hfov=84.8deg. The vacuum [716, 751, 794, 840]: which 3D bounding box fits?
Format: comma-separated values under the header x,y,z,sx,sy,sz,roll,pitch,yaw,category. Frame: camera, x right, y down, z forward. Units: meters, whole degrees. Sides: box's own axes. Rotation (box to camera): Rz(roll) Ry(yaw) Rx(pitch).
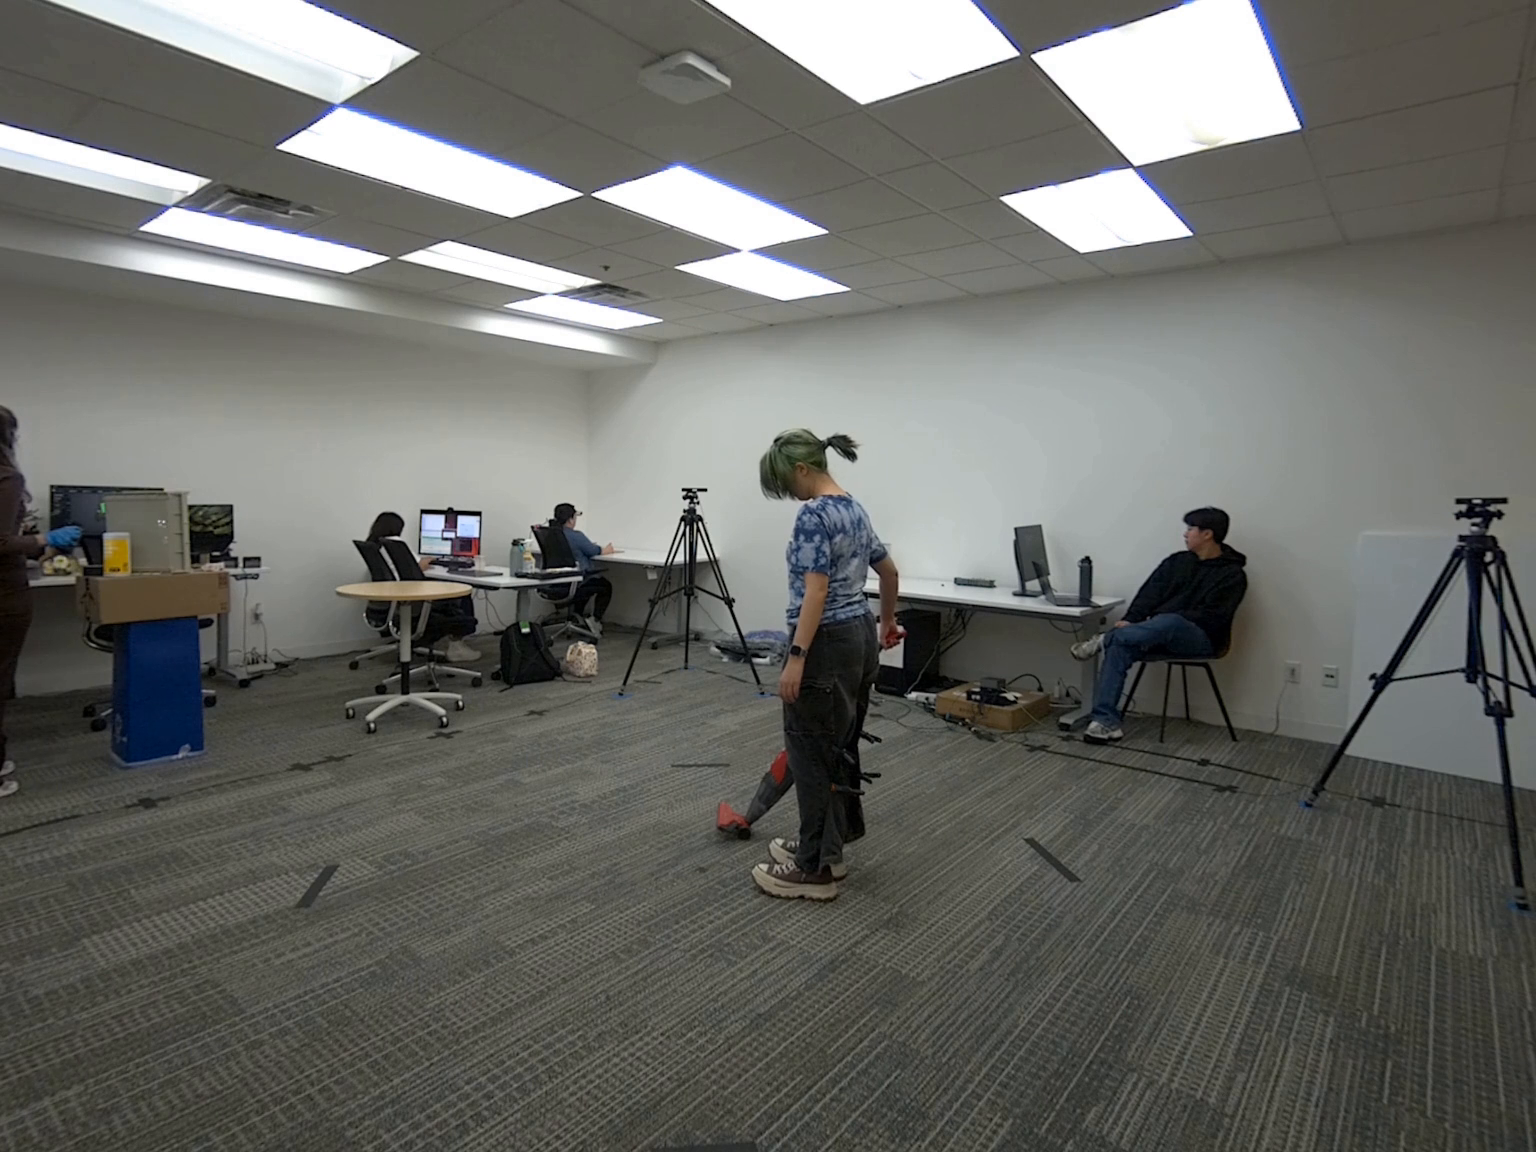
x,y,z,sx,sy,sz,roll,pitch,yaw,category
0.188,0.629,3.415,0.144,1.049,0.253,43,3,-4,vacuum
